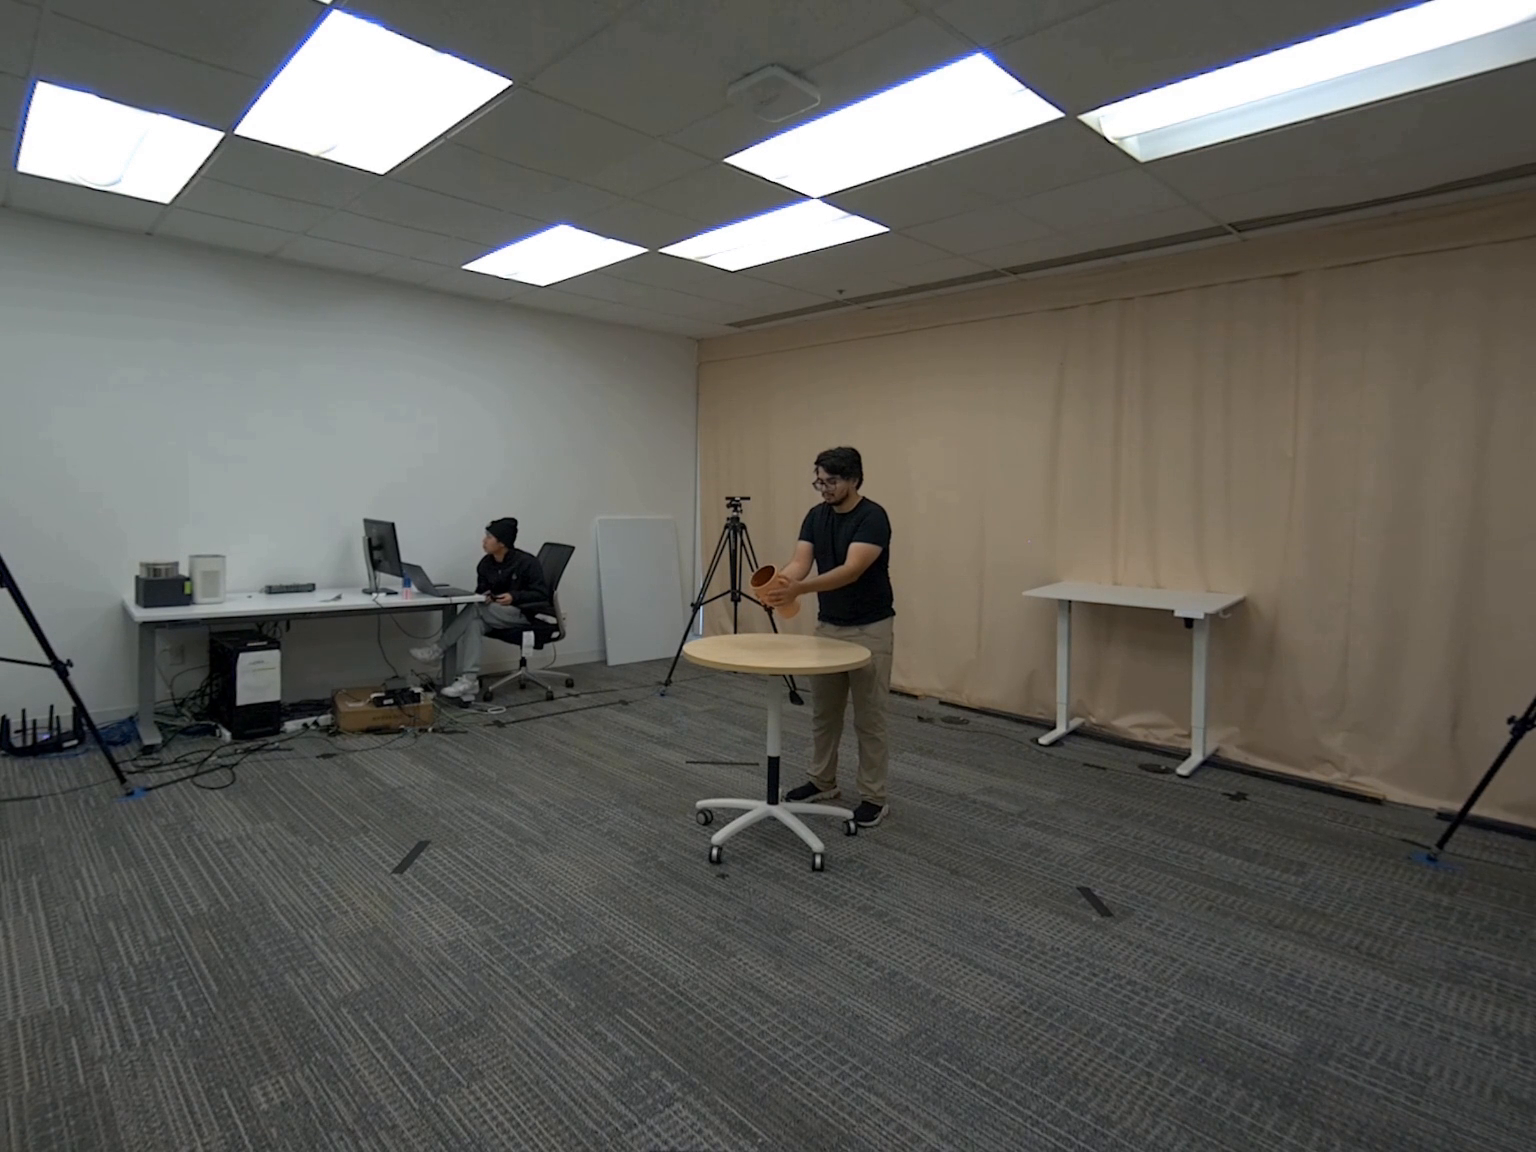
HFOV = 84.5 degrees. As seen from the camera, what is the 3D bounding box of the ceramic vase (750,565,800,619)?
[{"bbox_3d":[0.027,0.072,3.477,0.134,0.214,0.163,-40,30,0],"label":"ceramic vase"}]
